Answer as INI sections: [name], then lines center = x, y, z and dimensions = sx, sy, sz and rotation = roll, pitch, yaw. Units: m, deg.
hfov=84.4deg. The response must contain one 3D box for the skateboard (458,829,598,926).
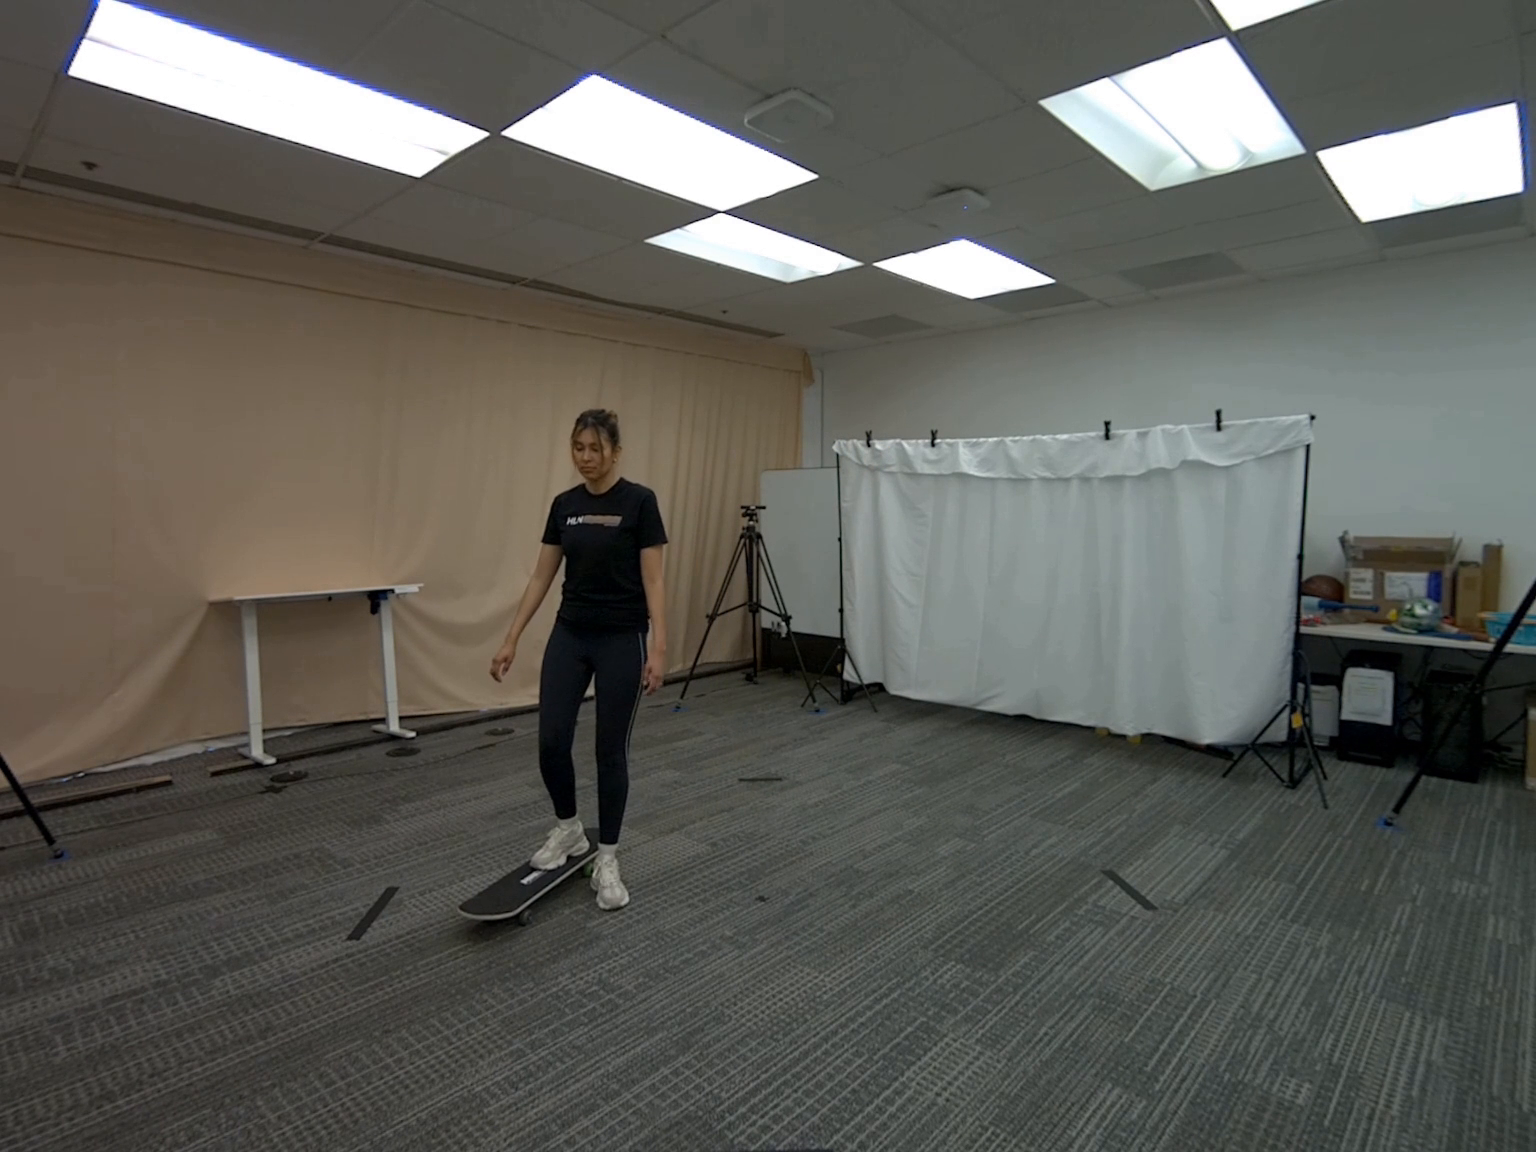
[skateboard]
center = -0.828, 1.100, 3.007
dimensions = 0.197, 0.110, 0.770
rotation = 1, 5, 19
